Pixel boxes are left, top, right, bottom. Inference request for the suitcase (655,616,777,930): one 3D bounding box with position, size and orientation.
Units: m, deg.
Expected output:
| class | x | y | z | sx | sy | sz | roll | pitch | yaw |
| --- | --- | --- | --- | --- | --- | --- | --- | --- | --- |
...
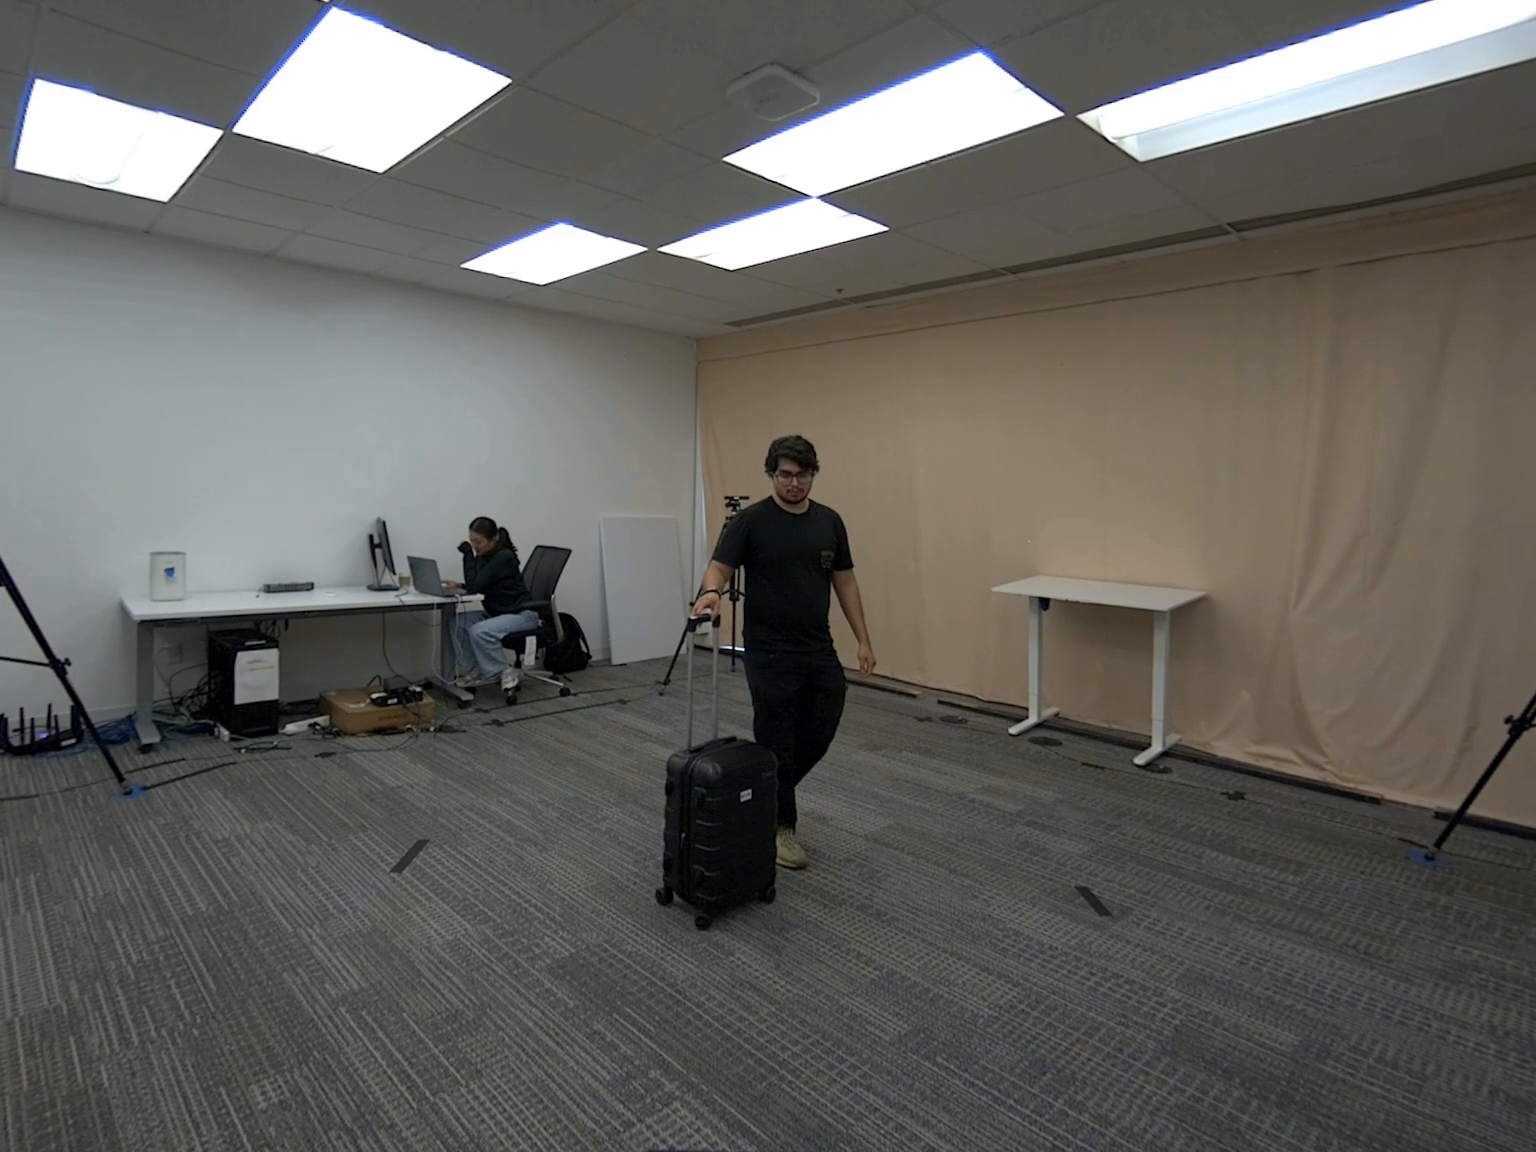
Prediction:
| class | x | y | z | sx | sy | sz | roll | pitch | yaw |
| --- | --- | --- | --- | --- | --- | --- | --- | --- | --- |
| suitcase | -0.158 | 0.650 | 2.864 | 0.264 | 0.976 | 0.375 | 7 | 6 | 44 |
